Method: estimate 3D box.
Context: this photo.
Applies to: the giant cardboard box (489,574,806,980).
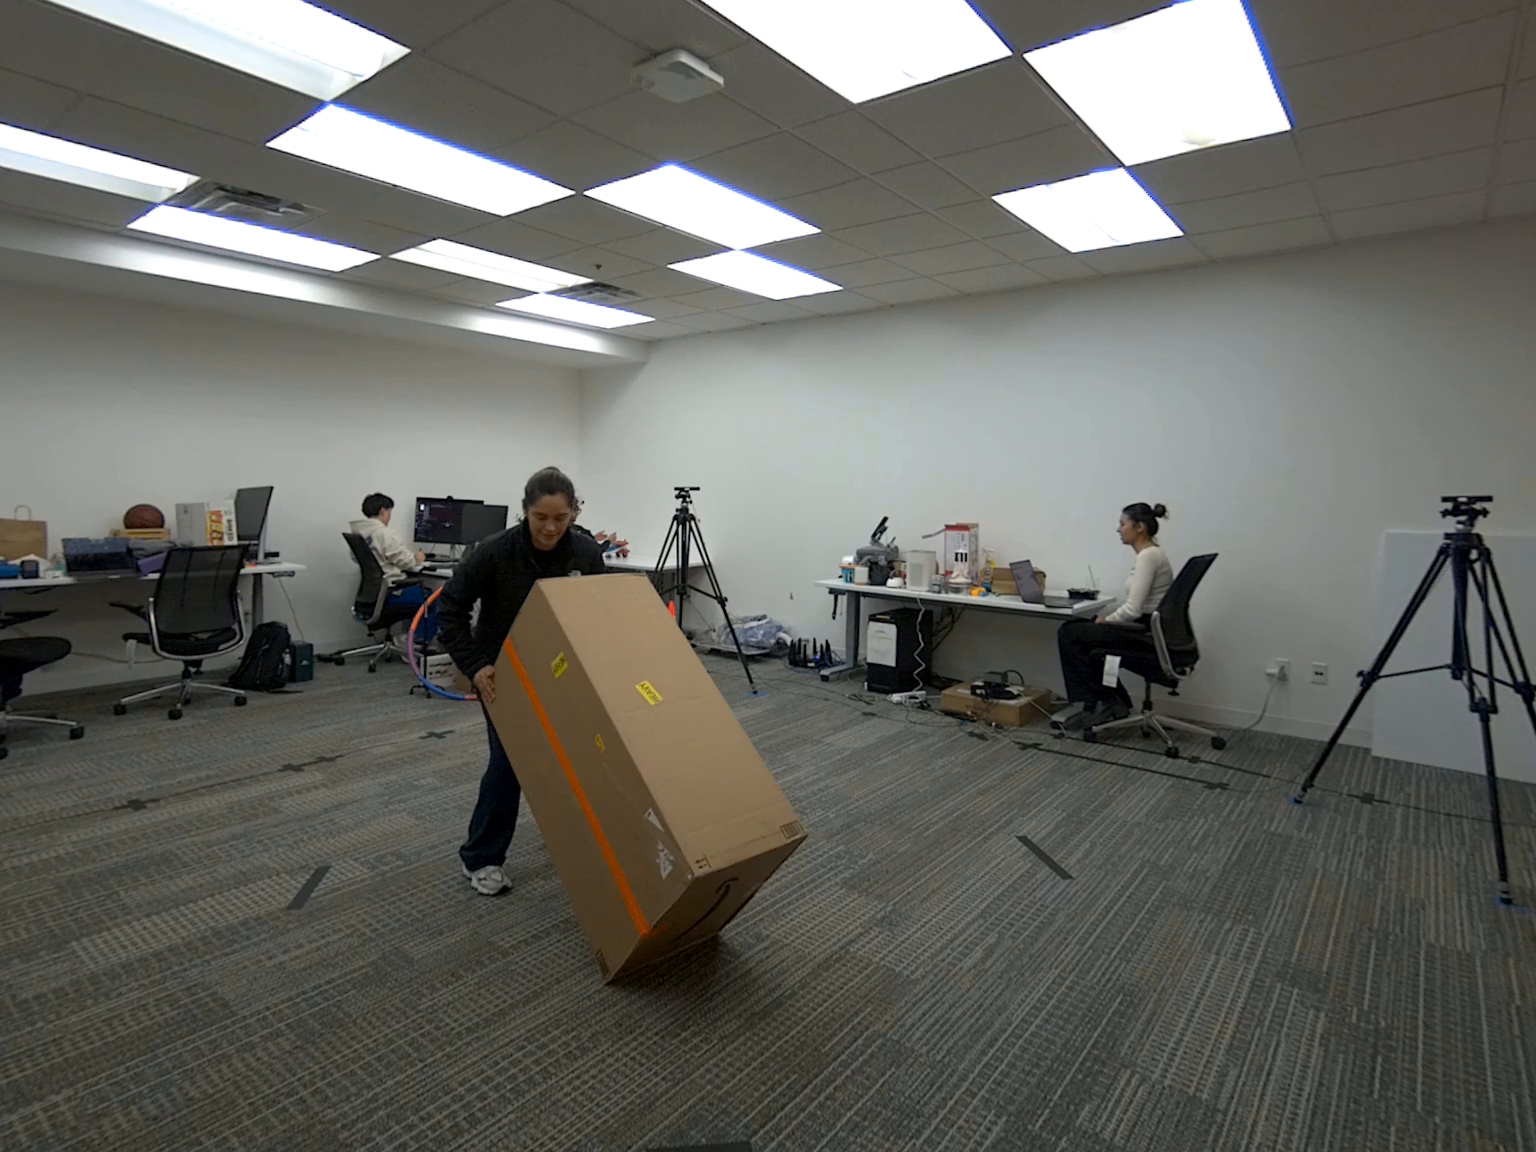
[{"bbox_3d":[-0.424,0.558,2.651,0.433,0.580,1.066,-4,47,-43],"label":"giant cardboard box"}]
